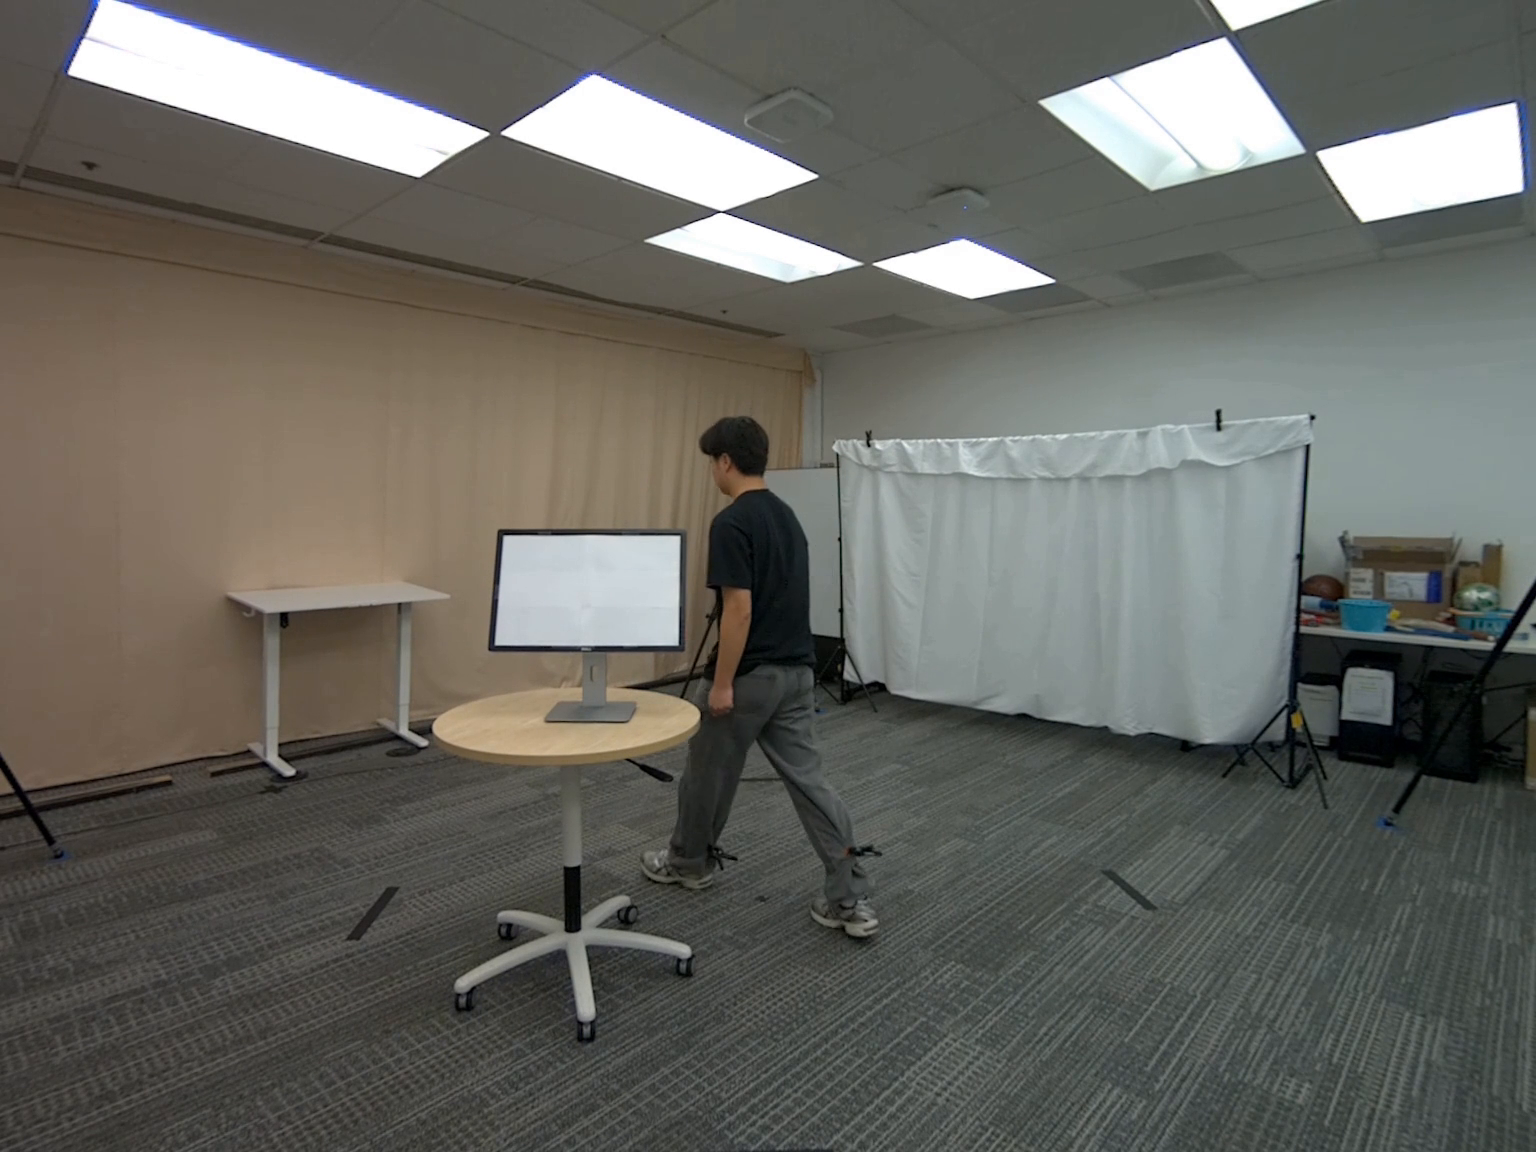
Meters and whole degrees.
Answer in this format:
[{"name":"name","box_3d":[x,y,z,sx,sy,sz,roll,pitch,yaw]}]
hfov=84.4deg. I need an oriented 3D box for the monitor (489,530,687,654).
[{"name":"monitor","box_3d":[-0.517,0.142,2.463,0.564,0.565,0.222,0,2,3]}]
